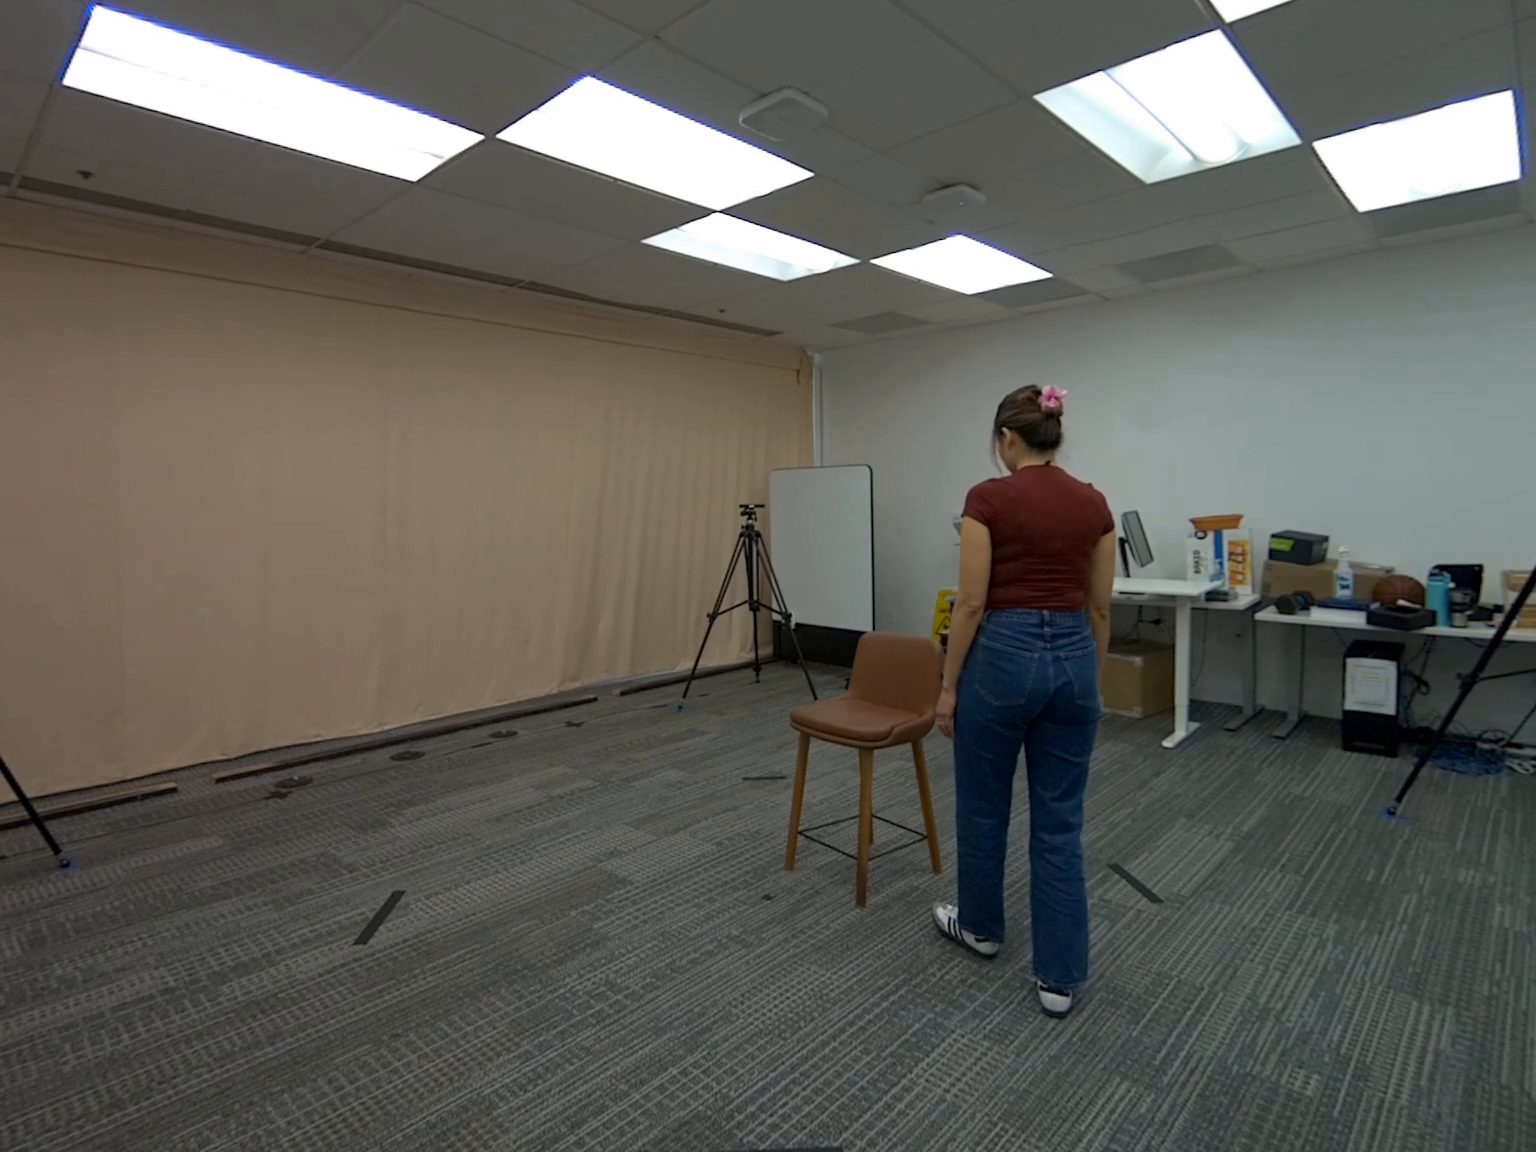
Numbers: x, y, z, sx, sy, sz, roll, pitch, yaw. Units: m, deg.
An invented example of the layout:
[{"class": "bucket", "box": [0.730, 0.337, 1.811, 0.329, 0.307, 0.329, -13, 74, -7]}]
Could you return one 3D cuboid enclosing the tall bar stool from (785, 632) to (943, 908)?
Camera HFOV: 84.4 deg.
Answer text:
[{"class": "tall bar stool", "box": [0.365, 0.684, 3.161, 0.453, 0.888, 0.471, -1, 3, -39]}]
